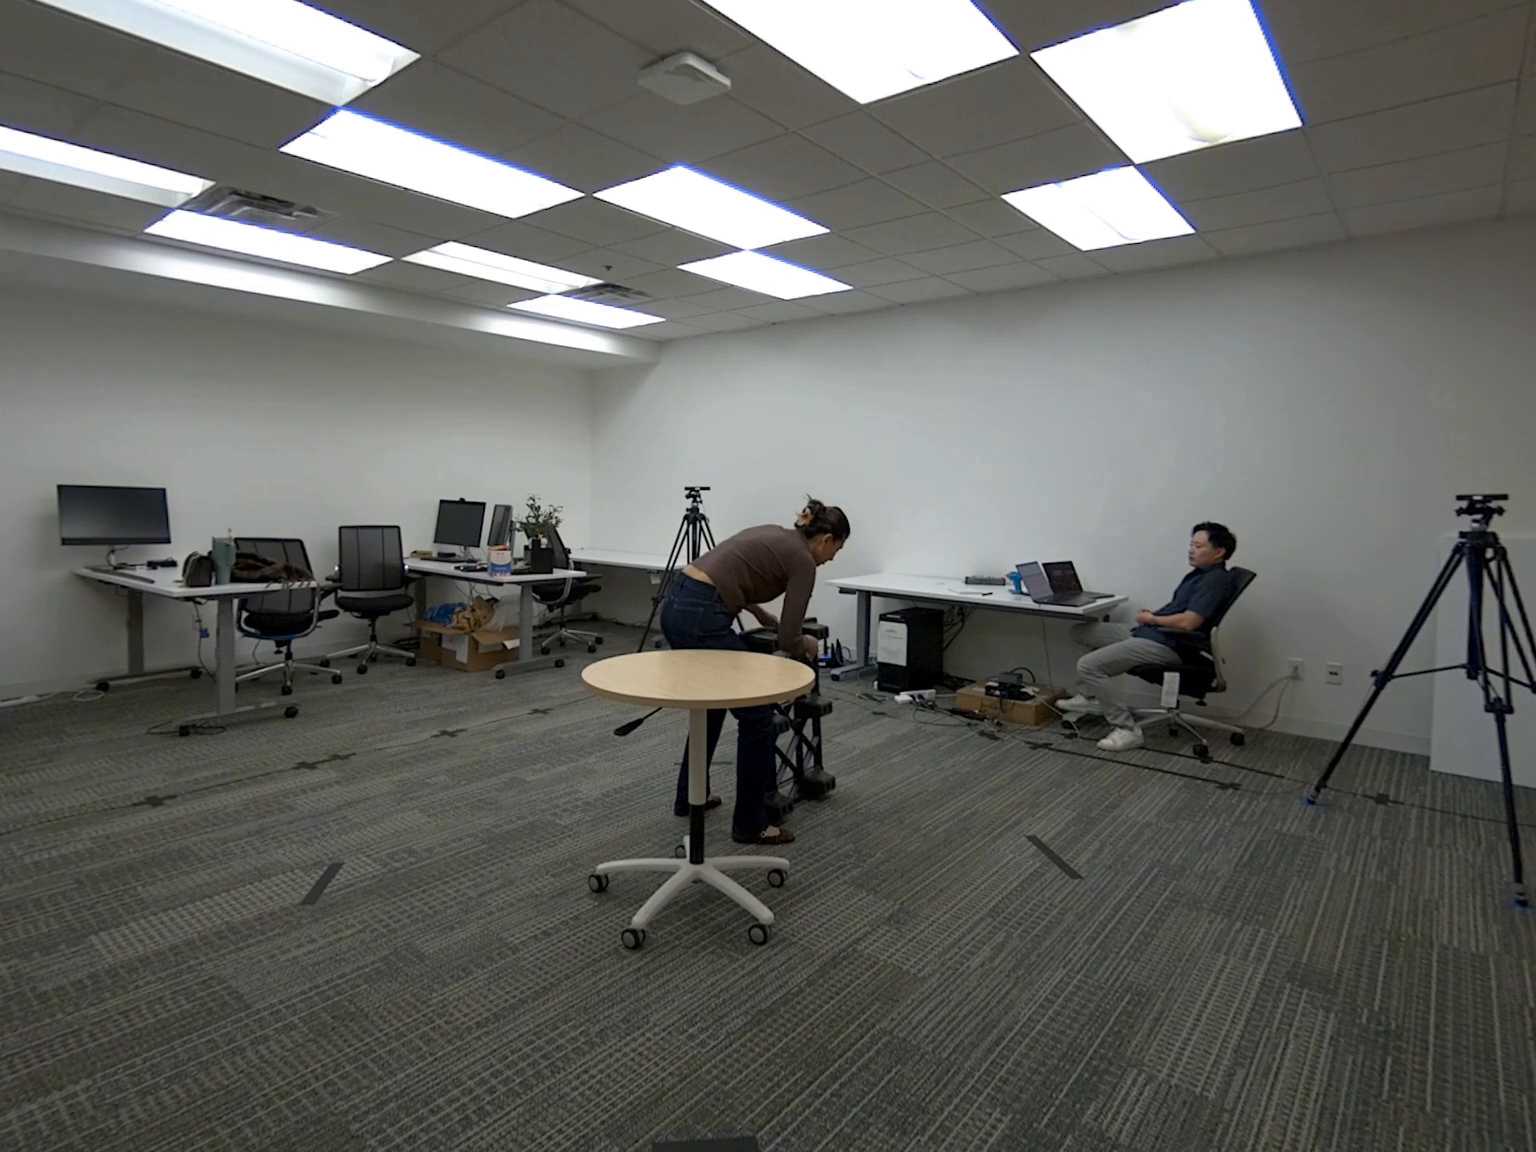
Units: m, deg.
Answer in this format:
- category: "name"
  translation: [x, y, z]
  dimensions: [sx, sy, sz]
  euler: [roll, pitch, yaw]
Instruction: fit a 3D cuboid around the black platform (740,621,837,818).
- category: "black platform"
  translation: [0.101, 0.607, 3.720]
  dimensions: [0.147, 0.806, 0.588]
  euler: [-3, 0, 34]
